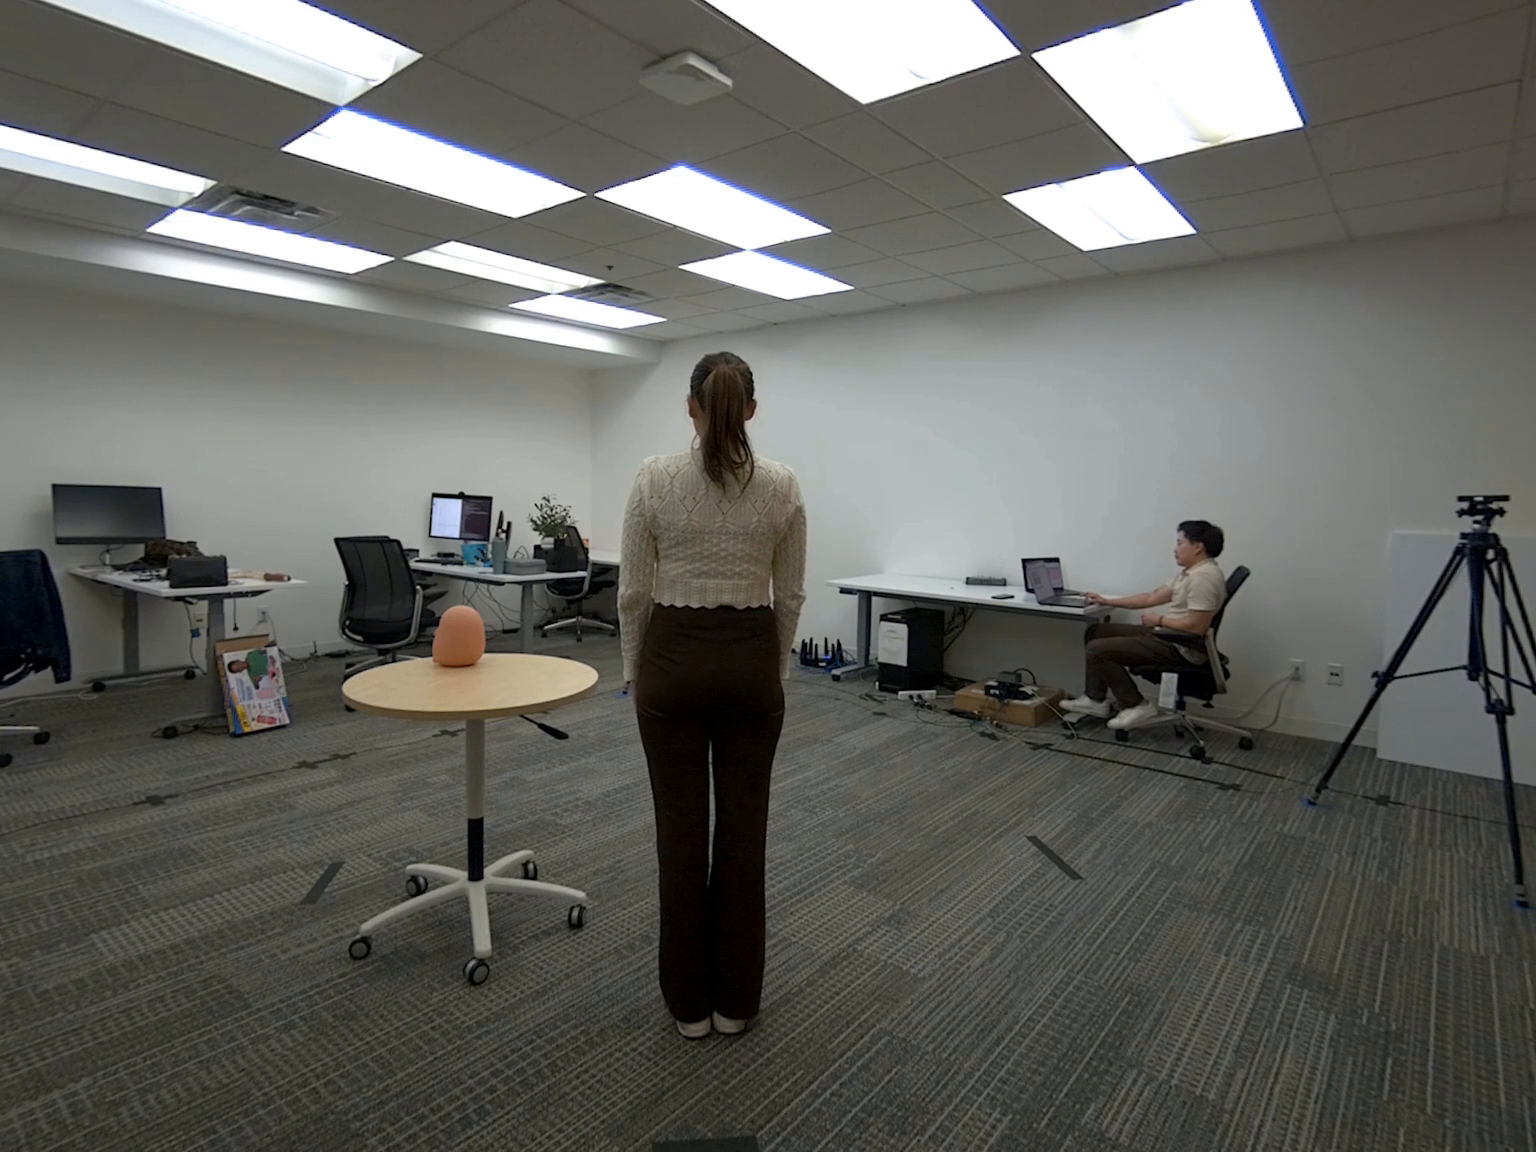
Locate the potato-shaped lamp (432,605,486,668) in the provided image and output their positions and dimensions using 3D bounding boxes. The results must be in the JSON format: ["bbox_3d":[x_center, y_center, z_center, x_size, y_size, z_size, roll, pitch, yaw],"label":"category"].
[{"bbox_3d":[-1.053,0.197,2.853,0.176,0.197,0.161,4,6,29],"label":"potato-shaped lamp"}]
